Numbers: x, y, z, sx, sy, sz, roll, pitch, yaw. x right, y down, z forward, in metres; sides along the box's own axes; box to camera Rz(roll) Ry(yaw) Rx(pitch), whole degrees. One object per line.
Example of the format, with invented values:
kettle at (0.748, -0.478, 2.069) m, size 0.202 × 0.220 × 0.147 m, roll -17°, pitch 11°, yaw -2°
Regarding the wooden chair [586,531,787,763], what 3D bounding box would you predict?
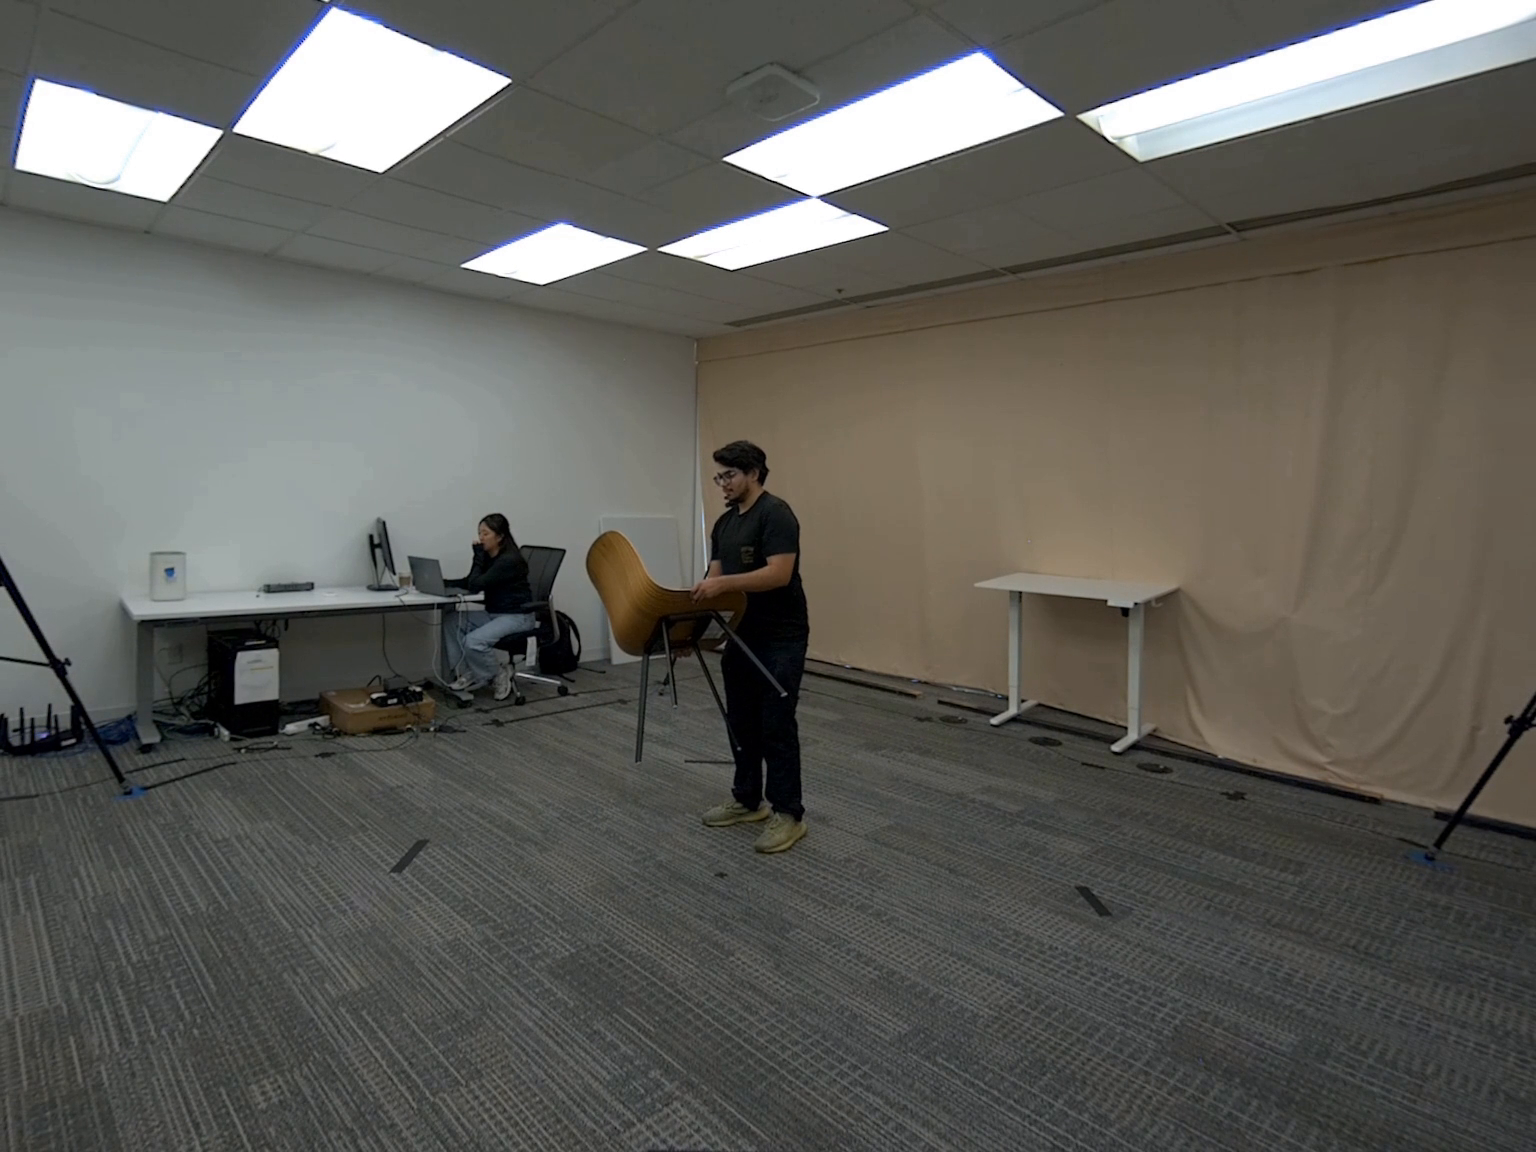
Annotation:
wooden chair at (-0.358, 0.232, 3.353) m, size 0.513 × 0.900 × 0.475 m, roll -5°, pitch -35°, yaw -33°
